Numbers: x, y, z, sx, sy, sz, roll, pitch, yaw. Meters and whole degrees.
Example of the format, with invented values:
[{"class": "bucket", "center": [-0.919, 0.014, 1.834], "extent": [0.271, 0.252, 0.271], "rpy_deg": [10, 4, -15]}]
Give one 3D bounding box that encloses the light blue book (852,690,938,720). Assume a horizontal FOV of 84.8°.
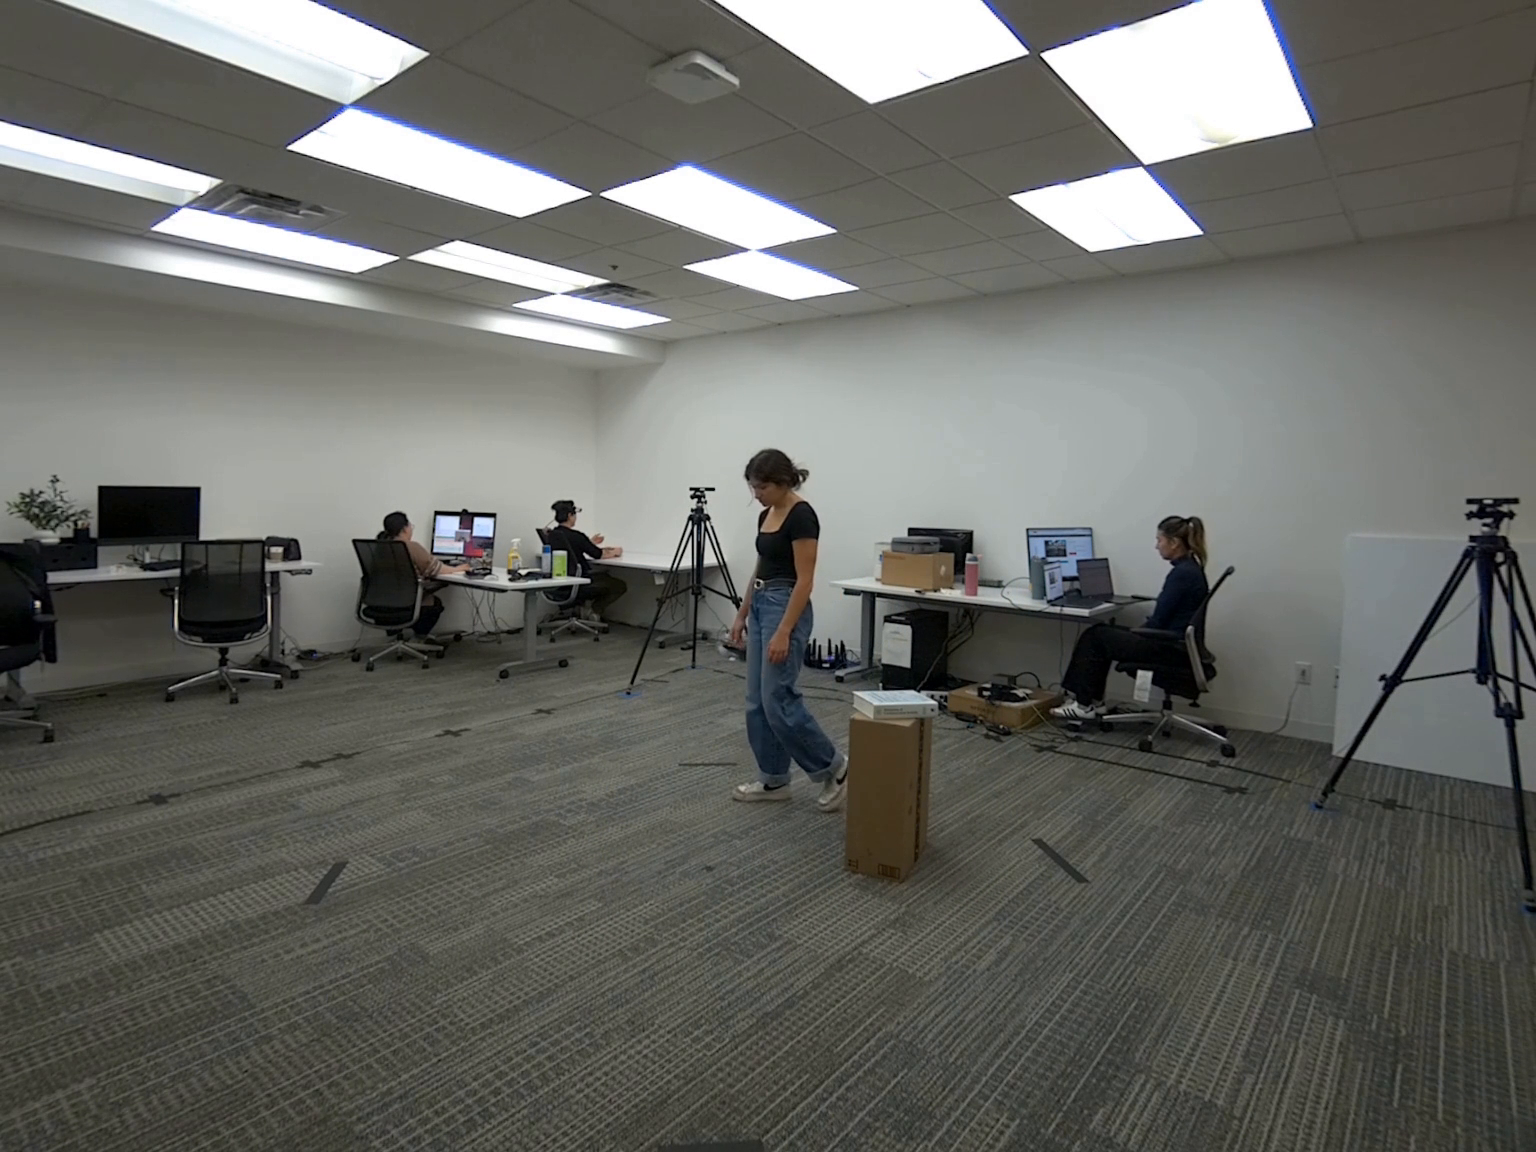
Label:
[{"class": "light blue book", "center": [0.475, 0.481, 3.198], "extent": [0.257, 0.059, 0.195], "rpy_deg": [0, 6, -17]}]
